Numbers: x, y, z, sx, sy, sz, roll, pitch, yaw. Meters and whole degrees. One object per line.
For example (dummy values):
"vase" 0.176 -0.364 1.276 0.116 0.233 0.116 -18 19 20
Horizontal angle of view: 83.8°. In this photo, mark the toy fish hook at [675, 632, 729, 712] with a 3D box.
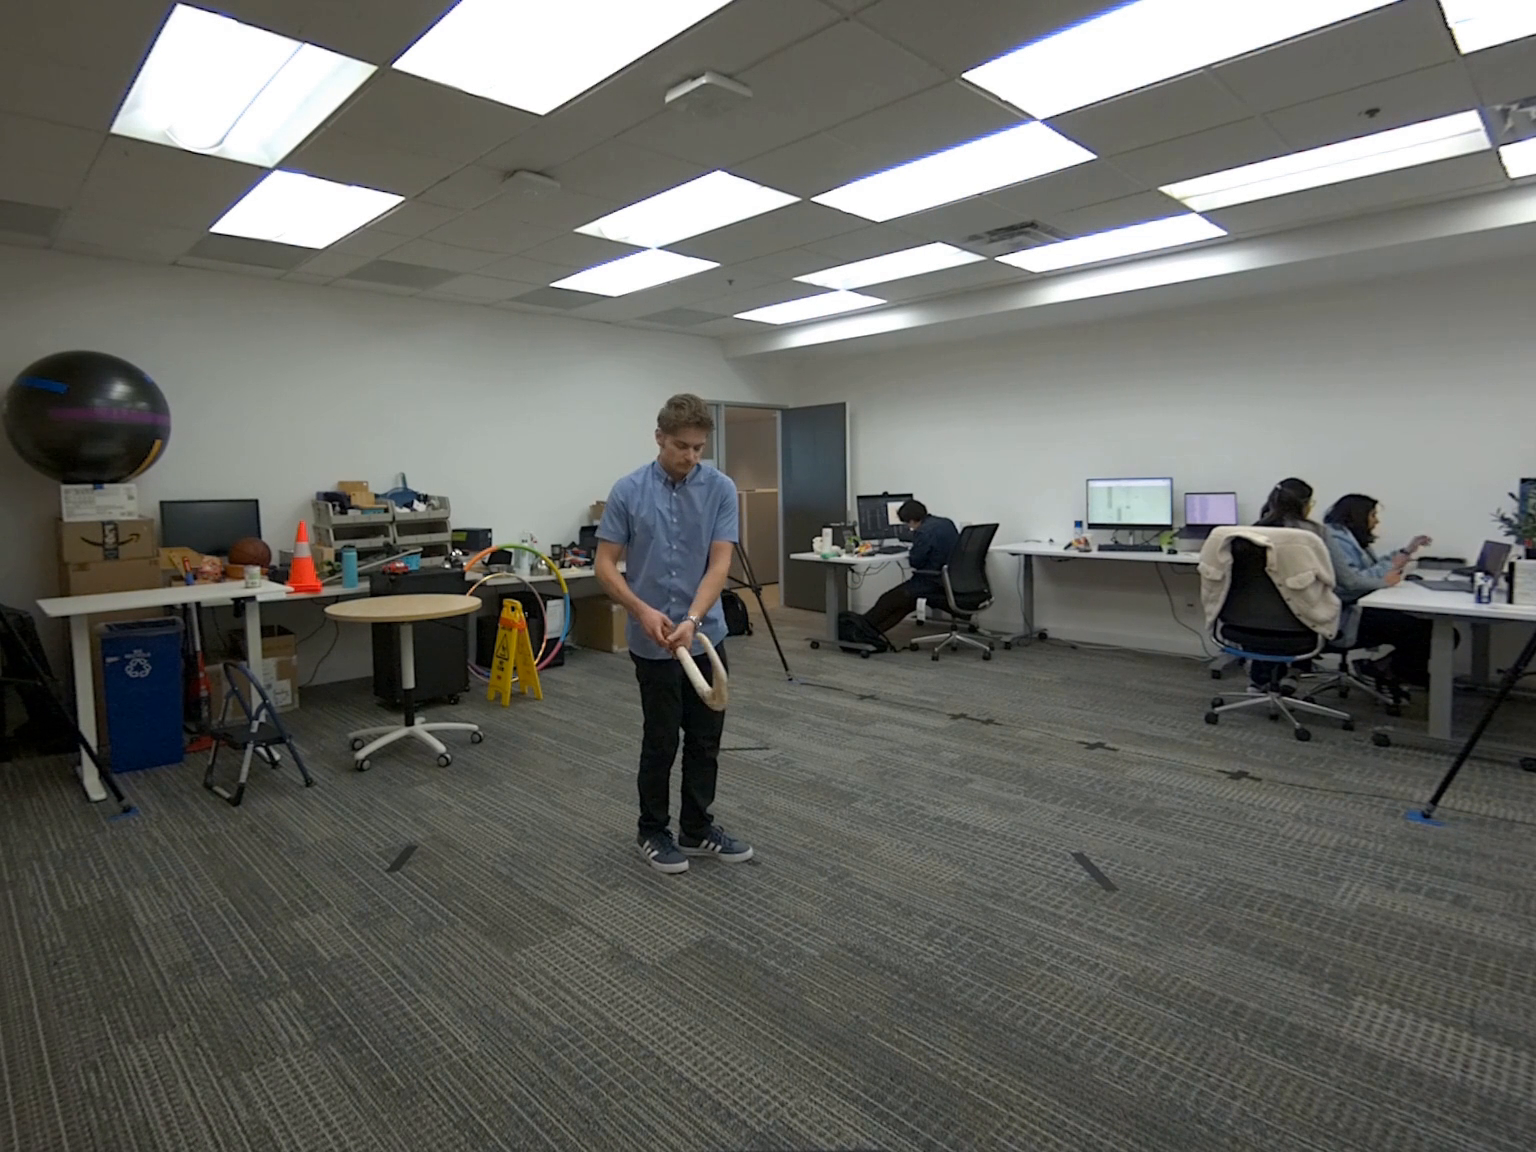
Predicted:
"toy fish hook" -0.238 0.221 2.709 0.047 0.220 0.526 -6 31 -26
